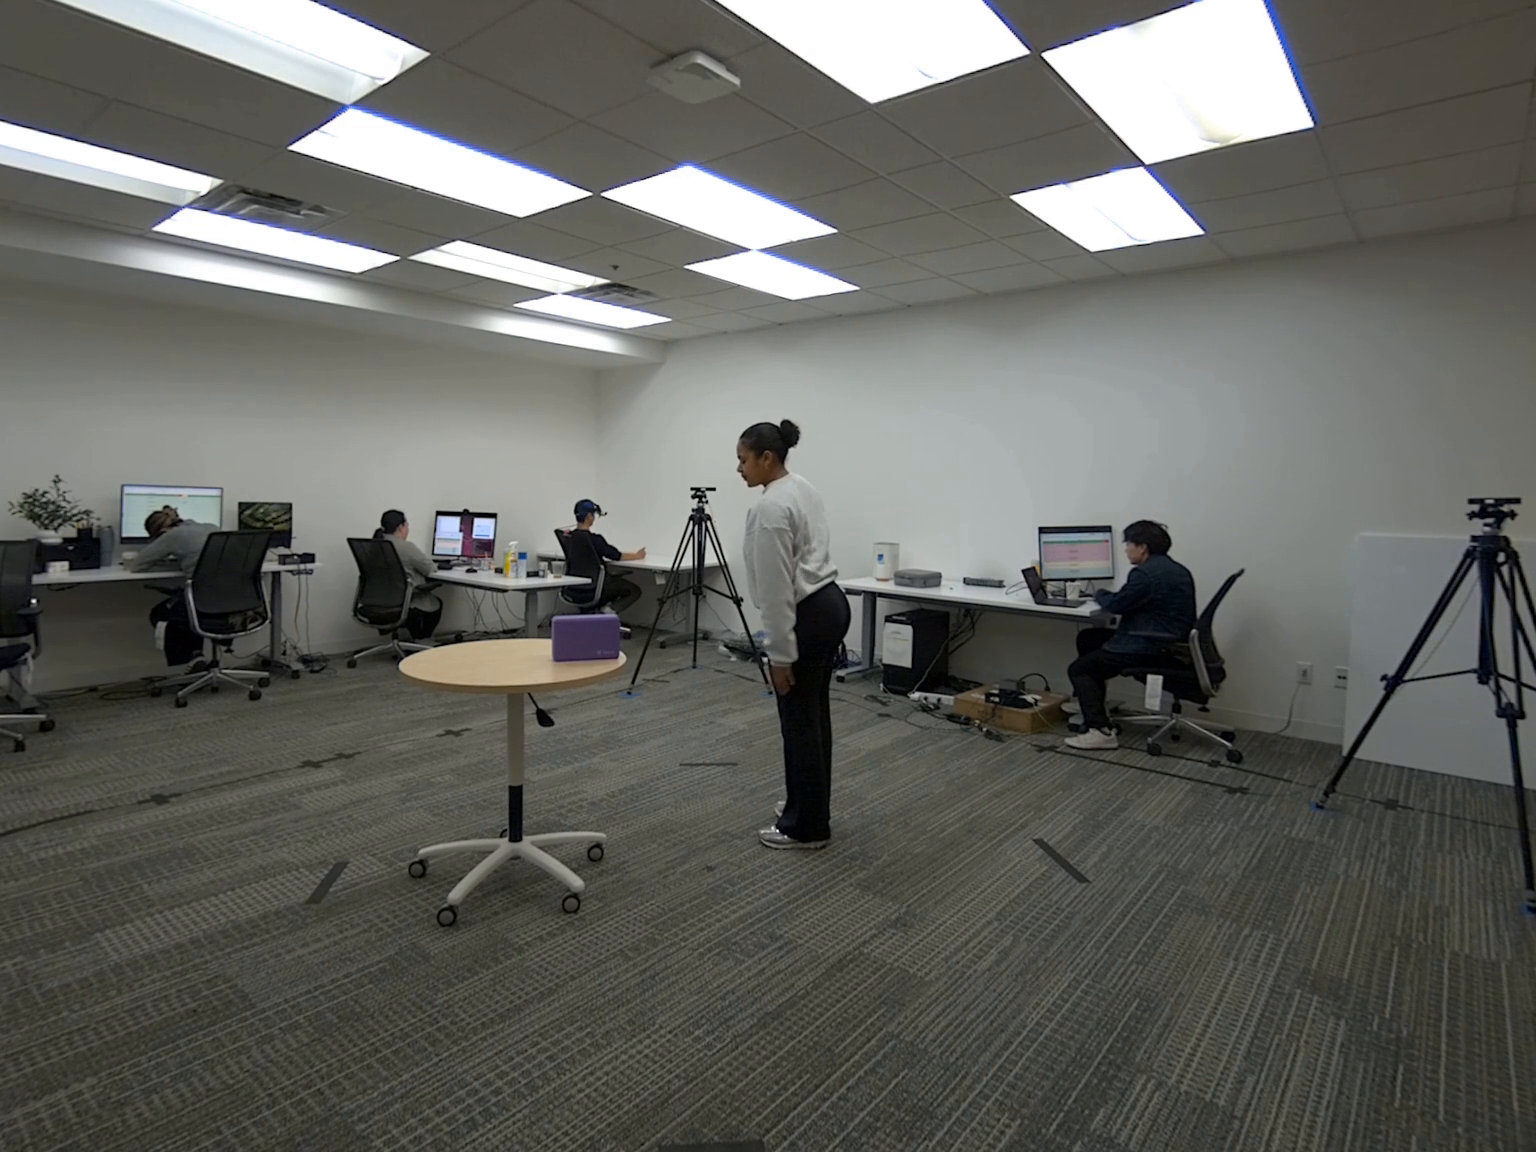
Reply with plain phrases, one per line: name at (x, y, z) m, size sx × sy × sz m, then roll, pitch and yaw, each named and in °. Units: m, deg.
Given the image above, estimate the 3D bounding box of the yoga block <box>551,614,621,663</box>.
yoga block at (-0.661, 0.212, 2.982) m, size 0.225 × 0.148 × 0.078 m, roll -1°, pitch 3°, yaw -16°
